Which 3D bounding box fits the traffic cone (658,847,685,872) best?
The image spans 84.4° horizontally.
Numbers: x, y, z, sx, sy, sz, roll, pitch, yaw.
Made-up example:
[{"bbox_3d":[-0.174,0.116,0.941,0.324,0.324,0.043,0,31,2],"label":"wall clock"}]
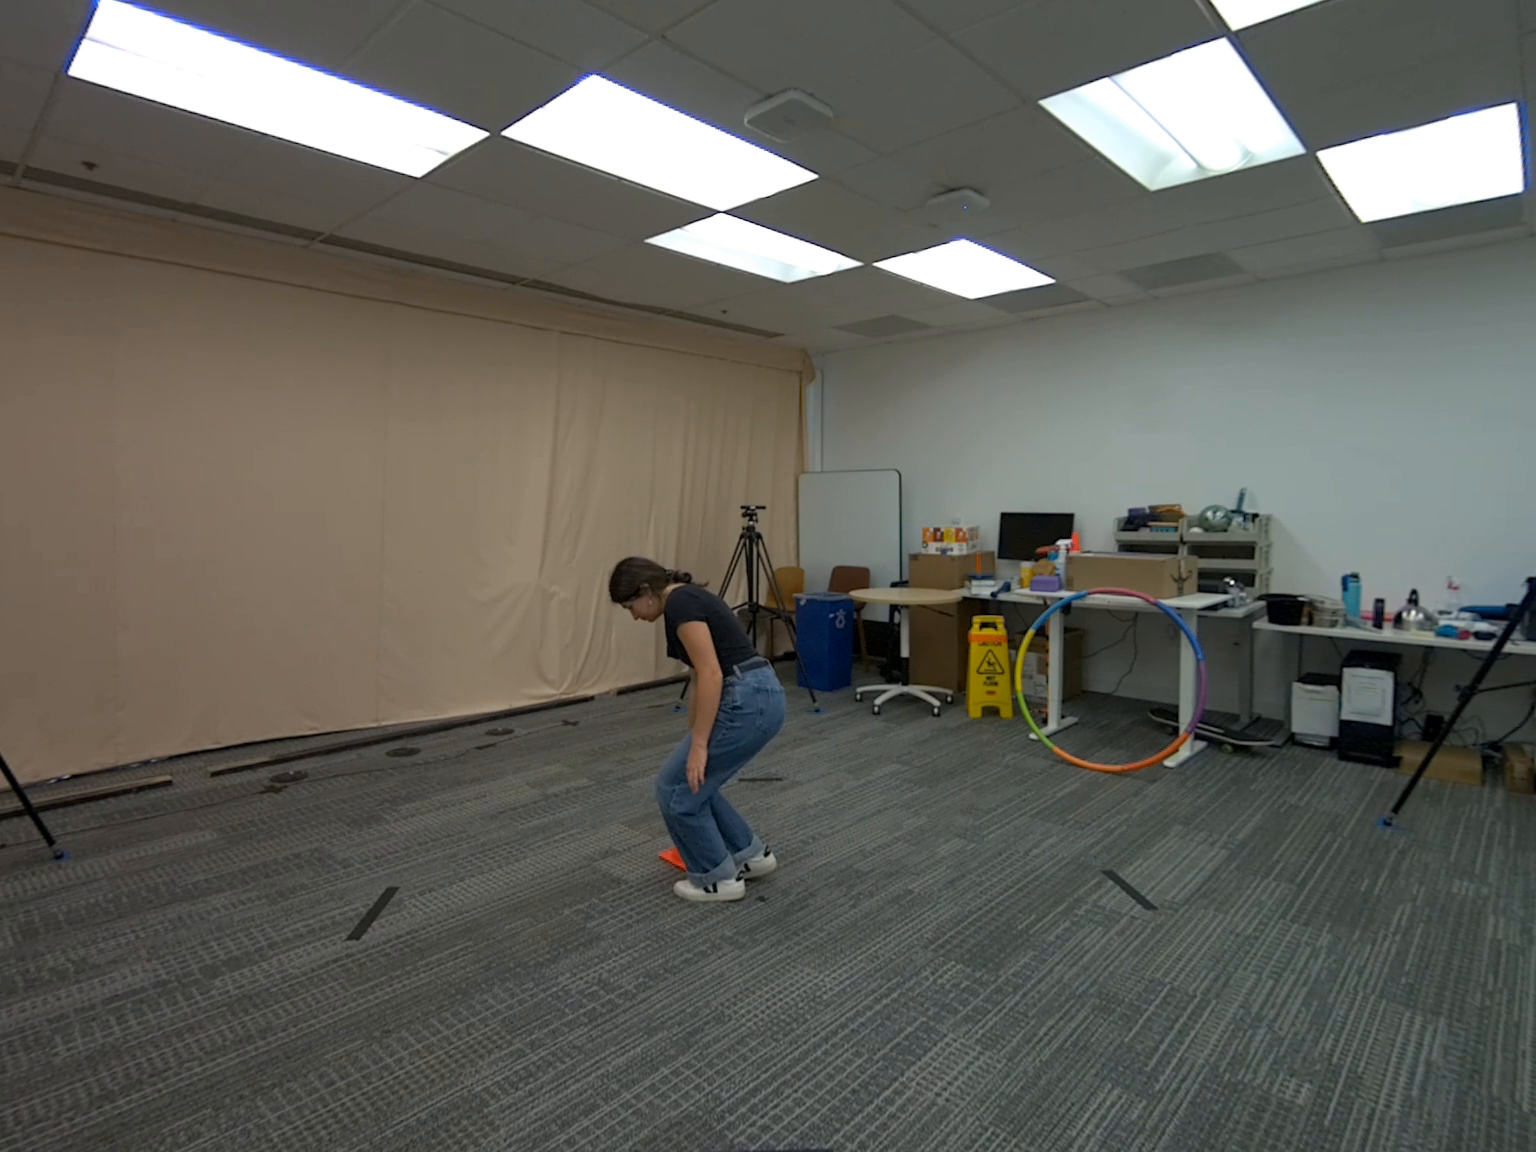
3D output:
[{"bbox_3d":[-0.293,0.913,3.324,0.197,0.383,0.212,0,1,-44],"label":"traffic cone"}]
